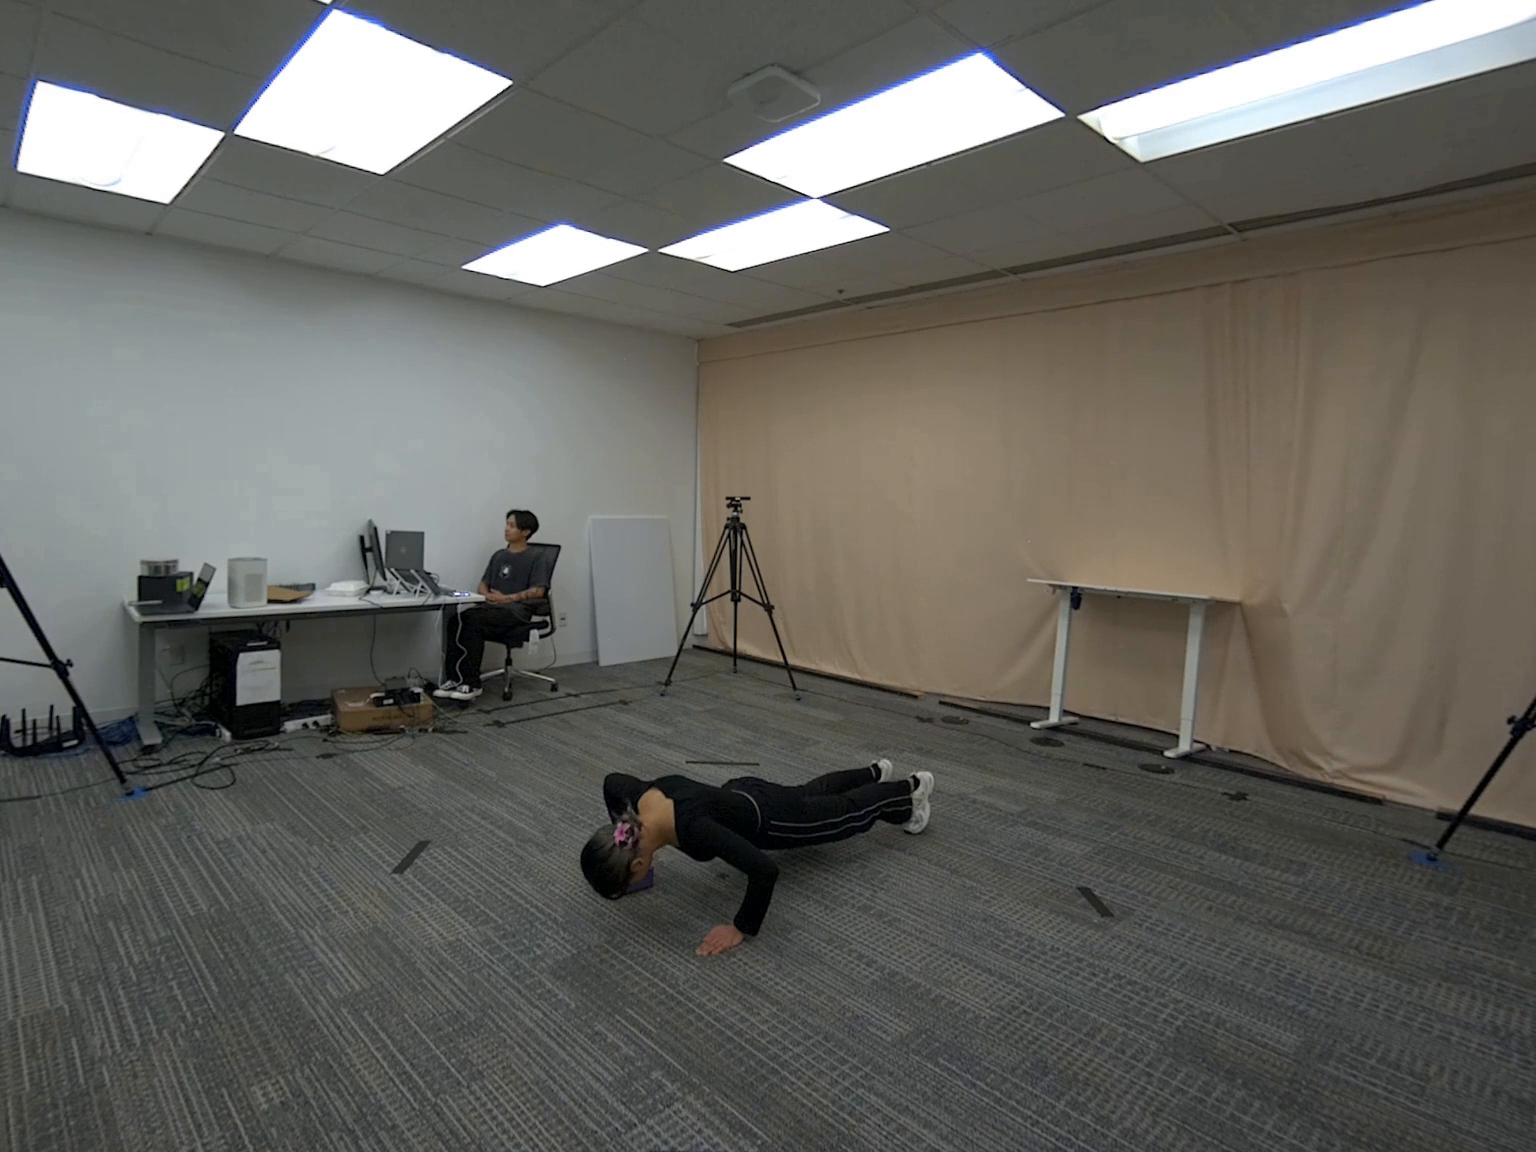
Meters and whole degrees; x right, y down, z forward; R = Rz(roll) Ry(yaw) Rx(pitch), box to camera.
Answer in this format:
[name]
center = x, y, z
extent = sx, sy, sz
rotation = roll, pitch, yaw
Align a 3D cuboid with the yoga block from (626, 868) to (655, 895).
[yoga block]
center = -0.529, 1.061, 3.055
extent = 0.146, 0.076, 0.235
rotation = -4, 6, -39
